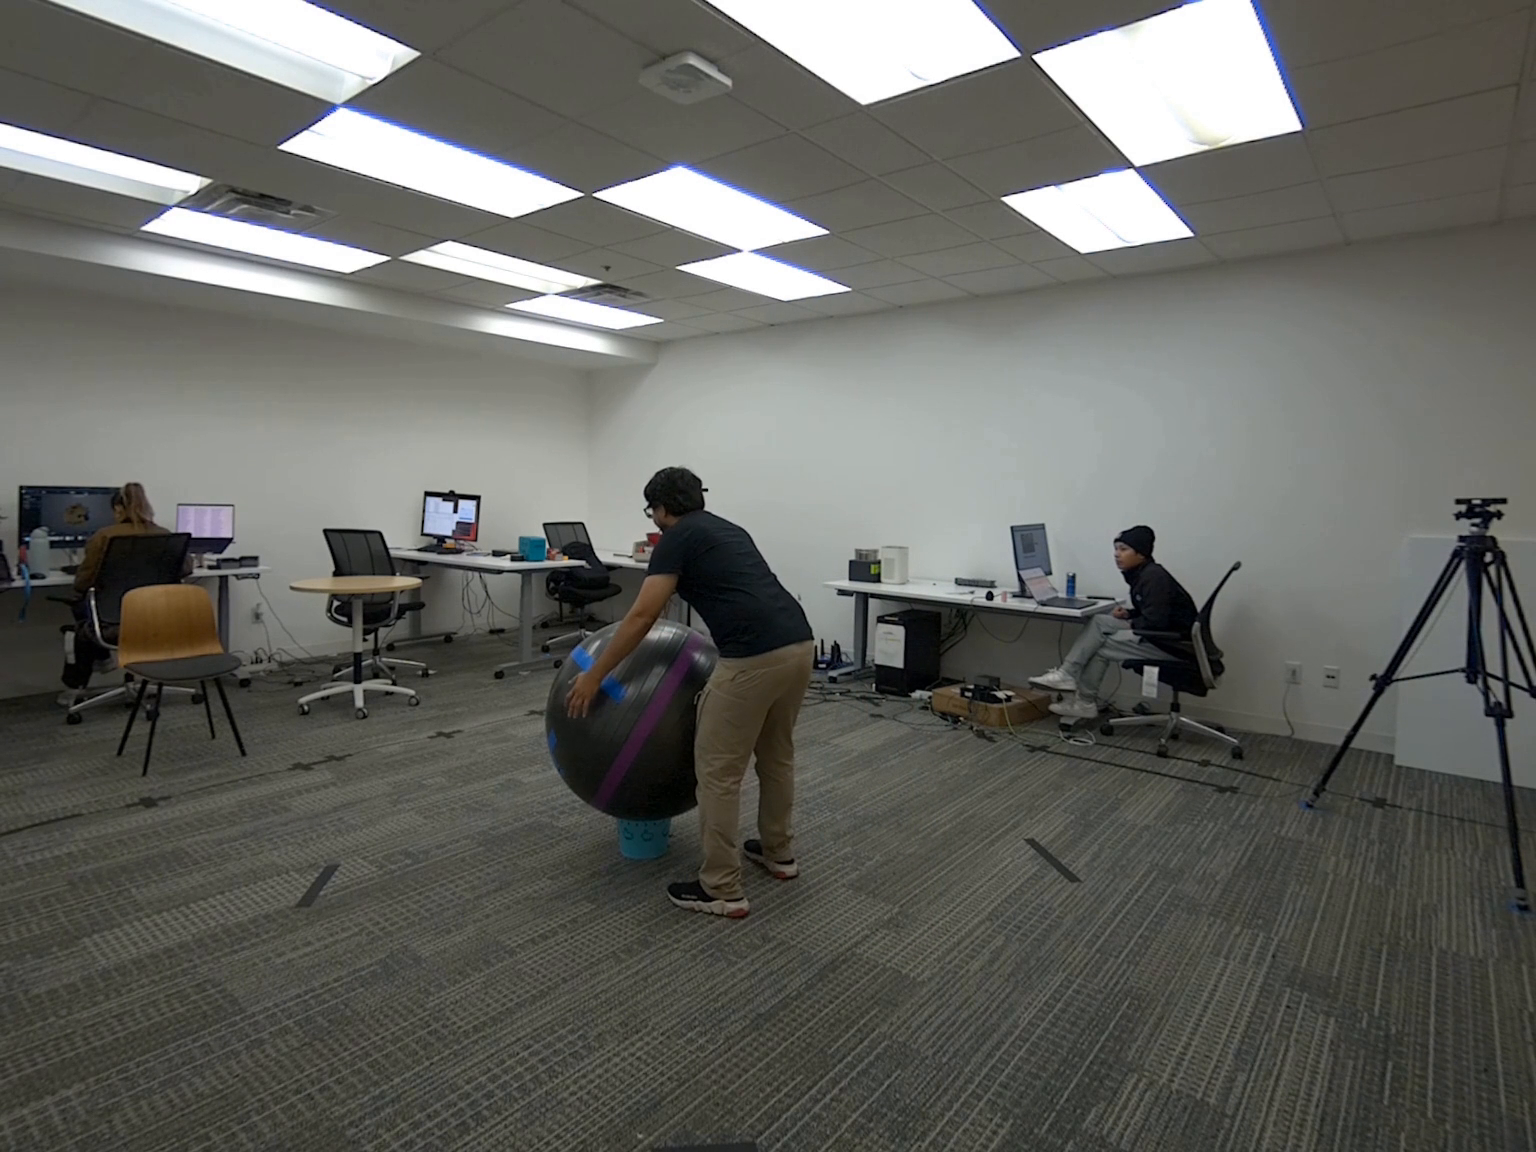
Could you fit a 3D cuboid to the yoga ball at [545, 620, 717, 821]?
[{"bbox_3d":[-0.481,0.545,3.249,0.757,0.756,0.761,1,4,-2],"label":"yoga ball"}]
